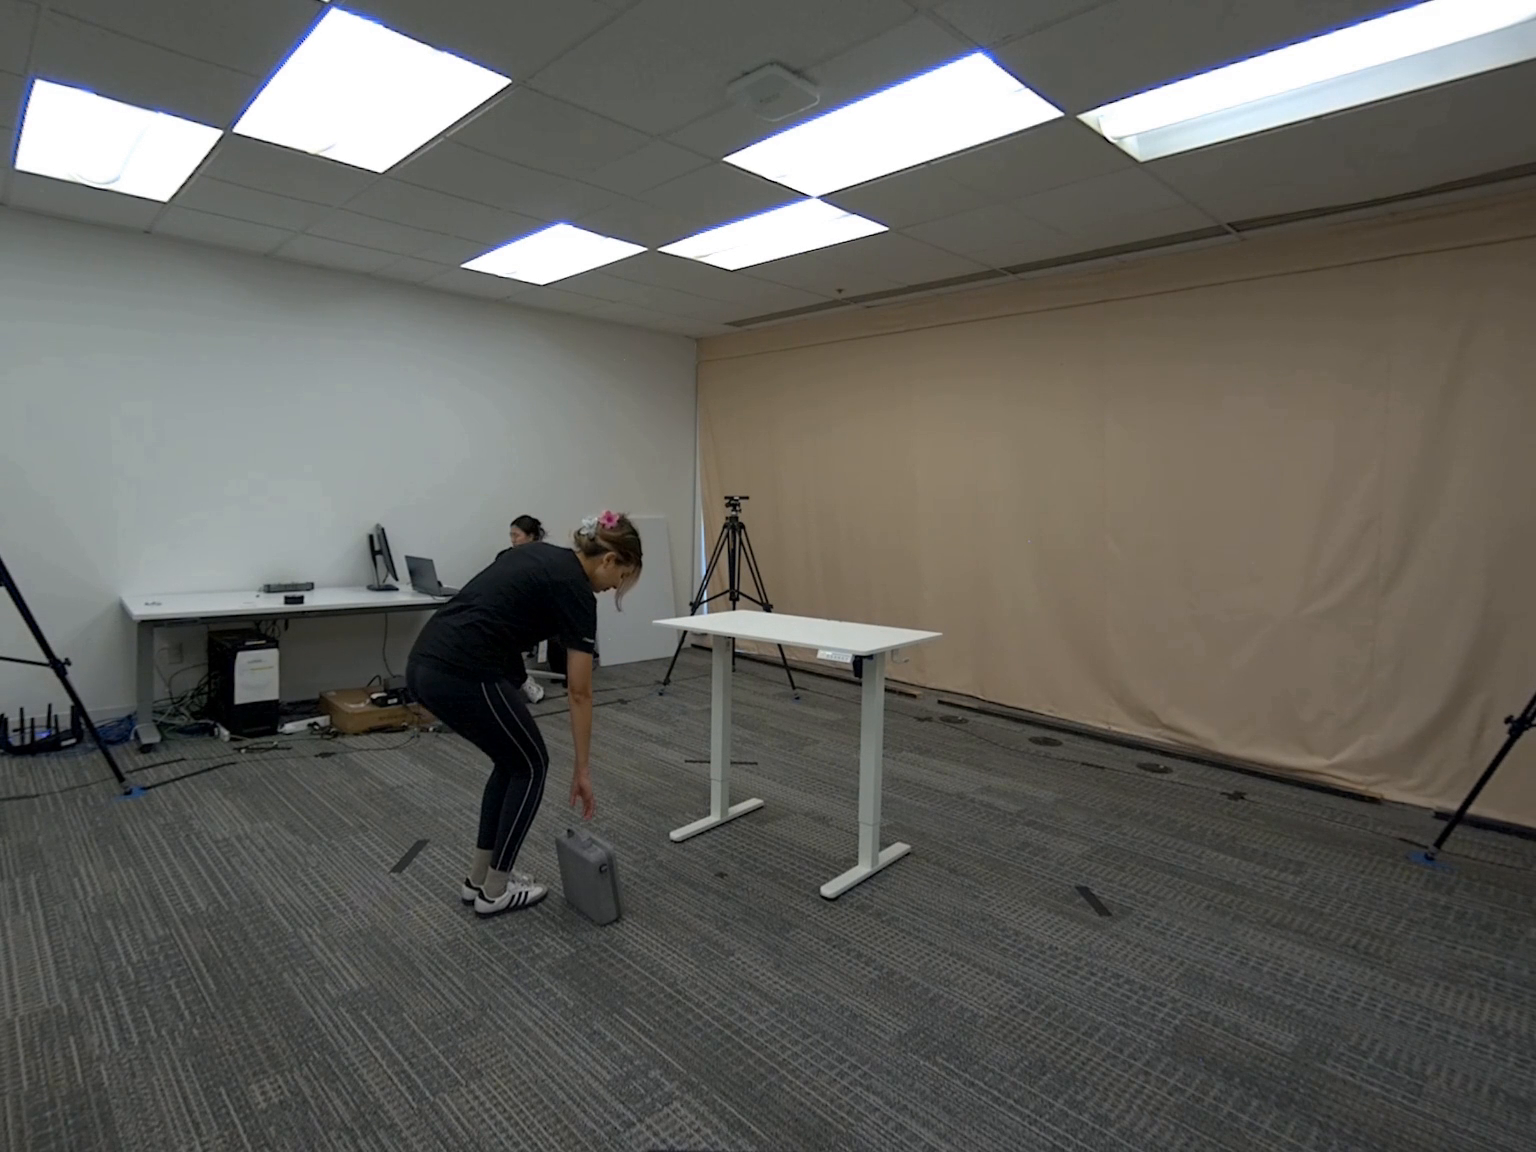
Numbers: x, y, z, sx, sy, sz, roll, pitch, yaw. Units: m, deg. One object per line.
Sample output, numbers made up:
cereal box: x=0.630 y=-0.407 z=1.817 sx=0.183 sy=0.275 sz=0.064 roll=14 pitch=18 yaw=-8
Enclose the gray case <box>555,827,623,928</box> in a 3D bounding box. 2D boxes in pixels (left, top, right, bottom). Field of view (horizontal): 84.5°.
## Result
gray case: x=-0.600 y=0.993 z=2.793 sx=0.102 sy=0.259 sz=0.263 roll=-13 pitch=12 yaw=-38
